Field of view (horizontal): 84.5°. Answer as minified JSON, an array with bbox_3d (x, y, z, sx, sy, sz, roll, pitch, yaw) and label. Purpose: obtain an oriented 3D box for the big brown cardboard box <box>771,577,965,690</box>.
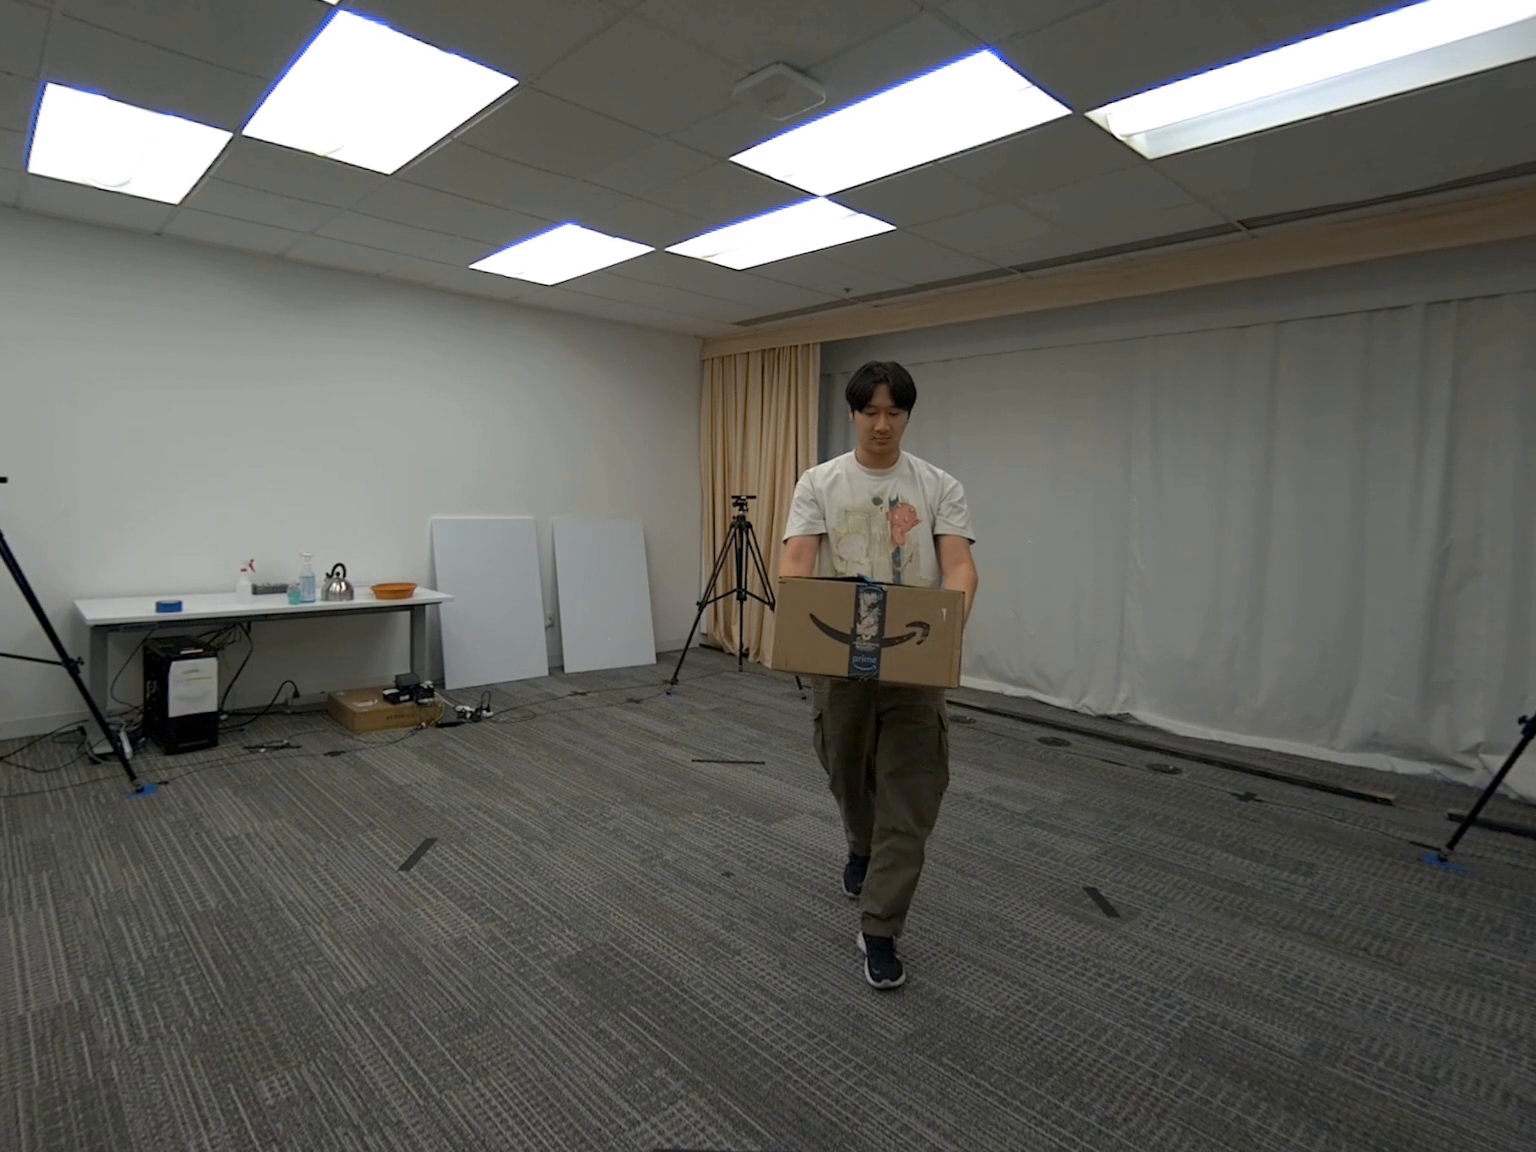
[{"bbox_3d":[0.251,0.158,2.136,0.421,0.234,0.580,5,-7,10],"label":"big brown cardboard box"}]
